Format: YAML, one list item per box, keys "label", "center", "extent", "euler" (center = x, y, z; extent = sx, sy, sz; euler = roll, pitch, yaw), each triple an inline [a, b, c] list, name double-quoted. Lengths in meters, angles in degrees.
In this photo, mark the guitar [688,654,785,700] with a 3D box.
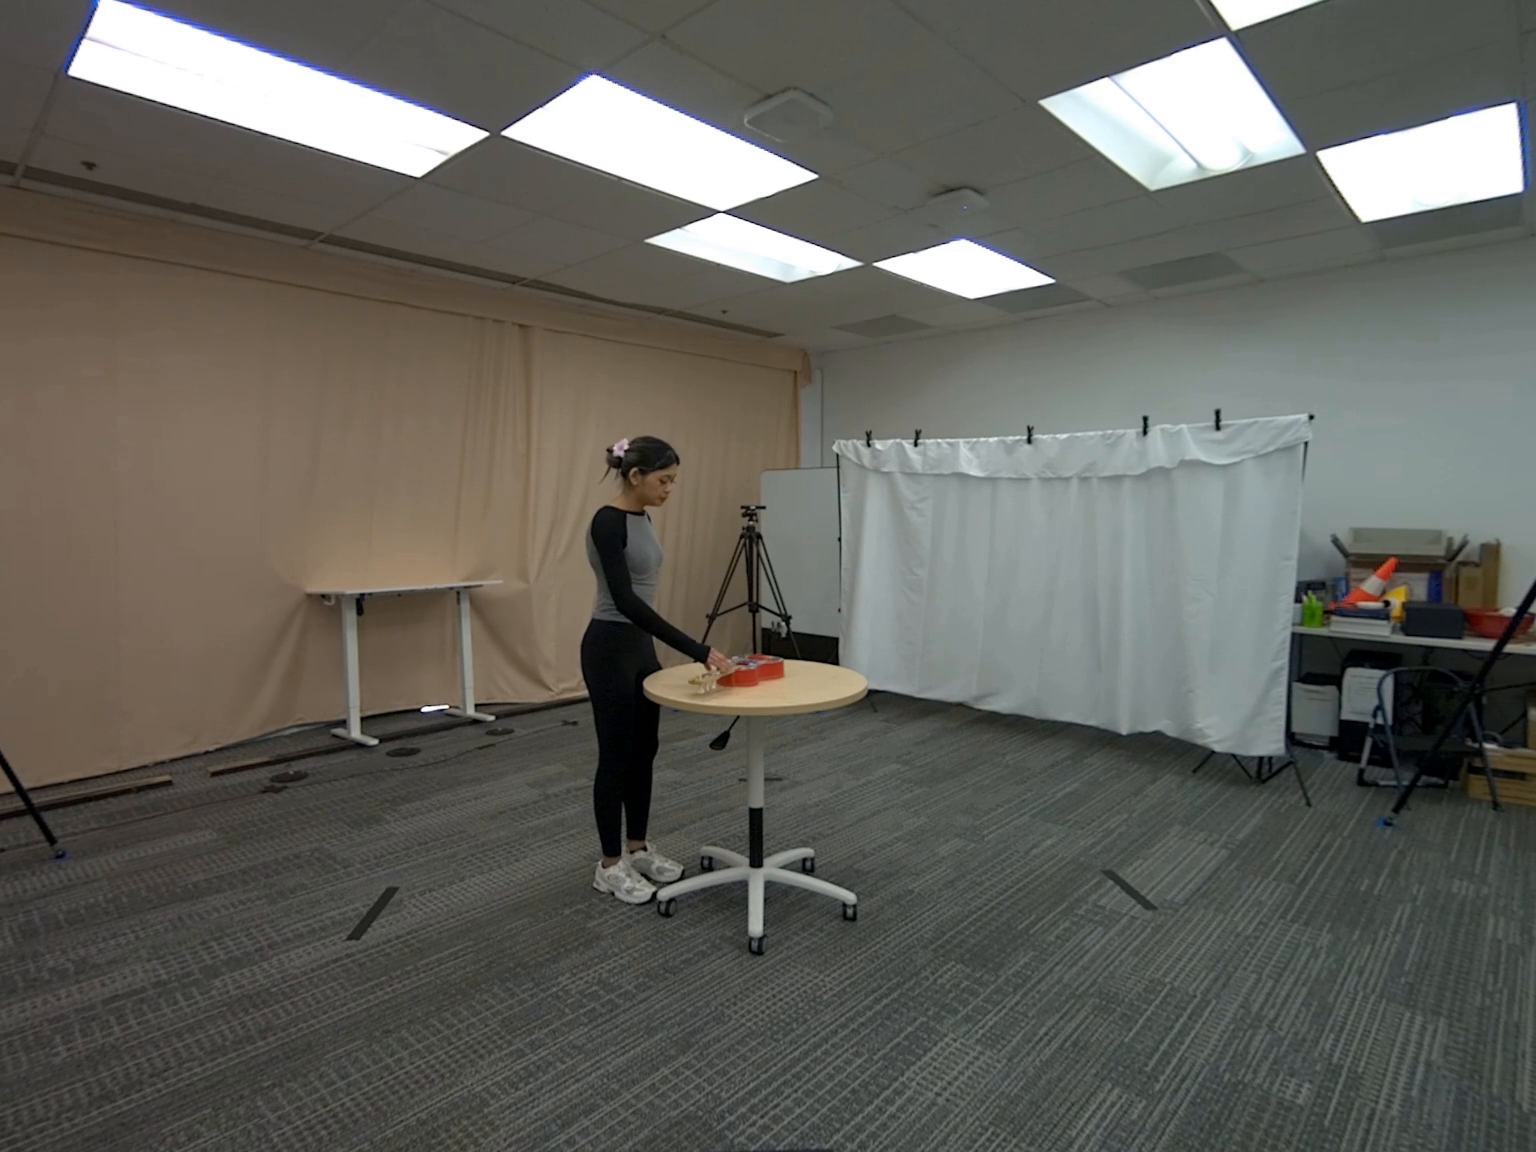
- label: "guitar"
  center: [-0.135, 0.333, 2.829]
  extent: [0.199, 0.070, 0.484]
  euler: [1, 5, 34]
